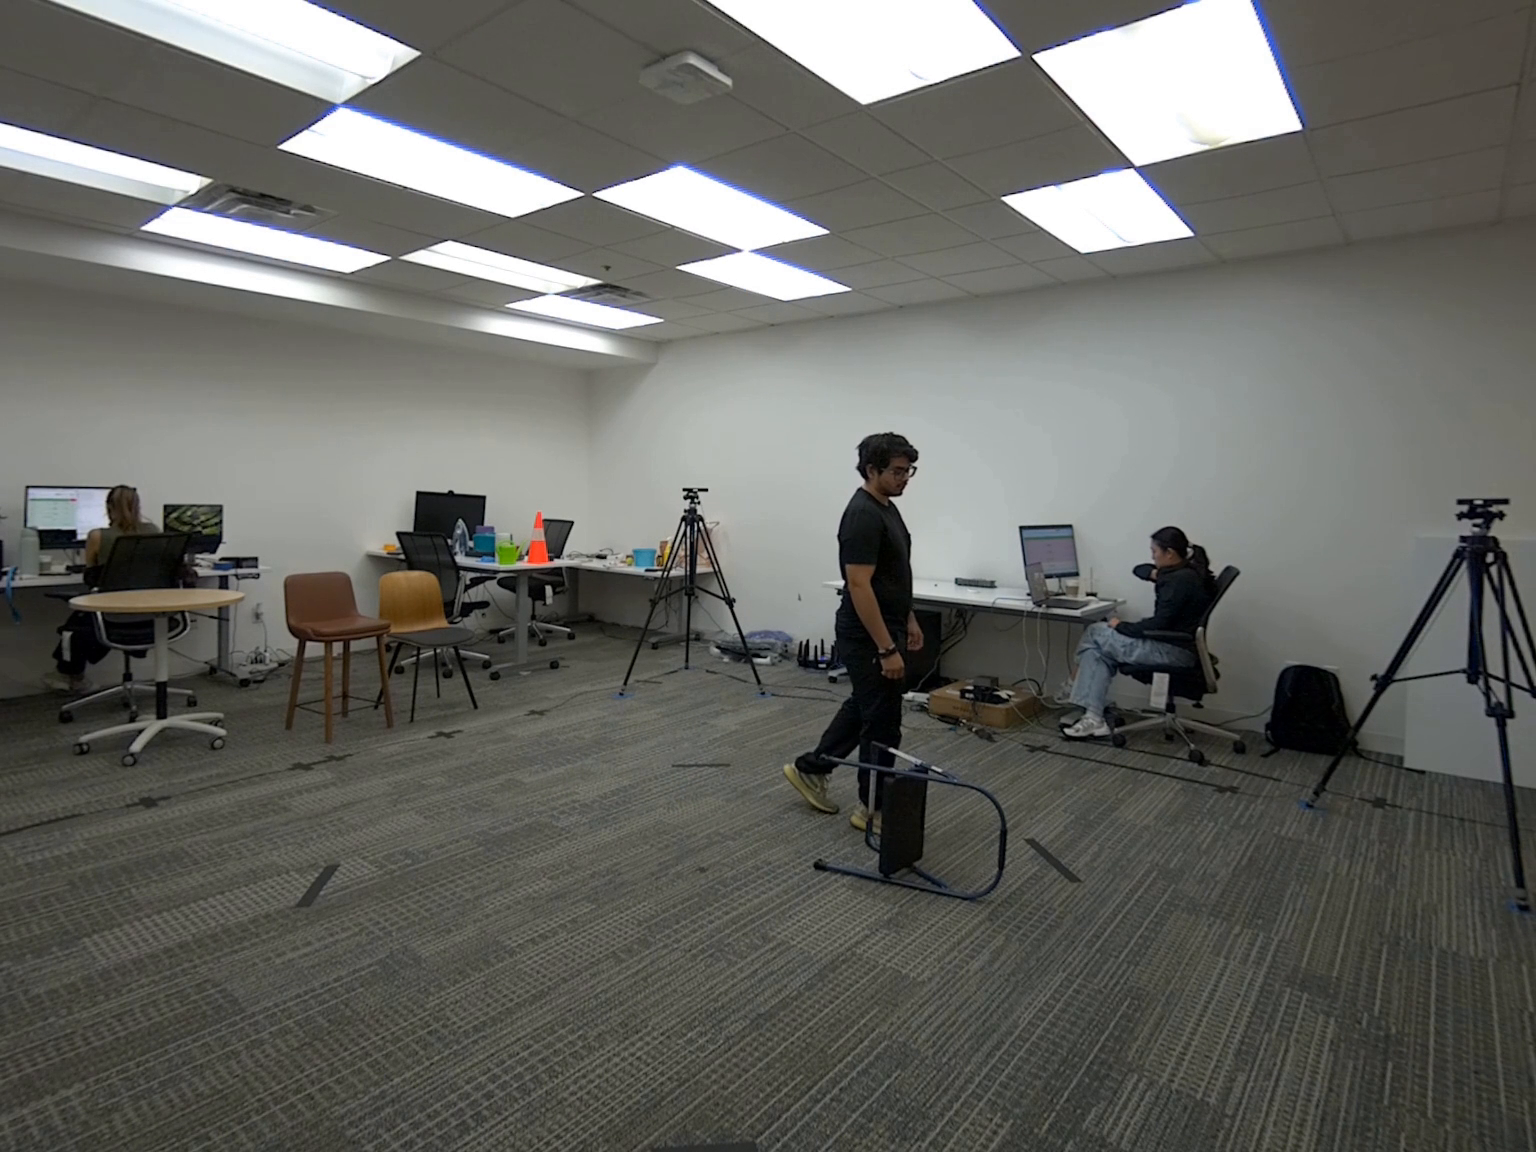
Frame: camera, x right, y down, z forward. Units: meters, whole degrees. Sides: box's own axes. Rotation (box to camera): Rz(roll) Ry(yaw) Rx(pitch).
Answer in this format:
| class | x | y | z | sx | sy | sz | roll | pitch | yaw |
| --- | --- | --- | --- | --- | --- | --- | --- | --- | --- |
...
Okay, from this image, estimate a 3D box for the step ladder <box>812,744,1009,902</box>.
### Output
| class | x | y | z | sx | sy | sz | roll | pitch | yaw |
| --- | --- | --- | --- | --- | --- | --- | --- | --- | --- |
| step ladder | 0.510 | 0.884 | 3.031 | 0.627 | 0.428 | 0.339 | 8 | 8 | 41 |
